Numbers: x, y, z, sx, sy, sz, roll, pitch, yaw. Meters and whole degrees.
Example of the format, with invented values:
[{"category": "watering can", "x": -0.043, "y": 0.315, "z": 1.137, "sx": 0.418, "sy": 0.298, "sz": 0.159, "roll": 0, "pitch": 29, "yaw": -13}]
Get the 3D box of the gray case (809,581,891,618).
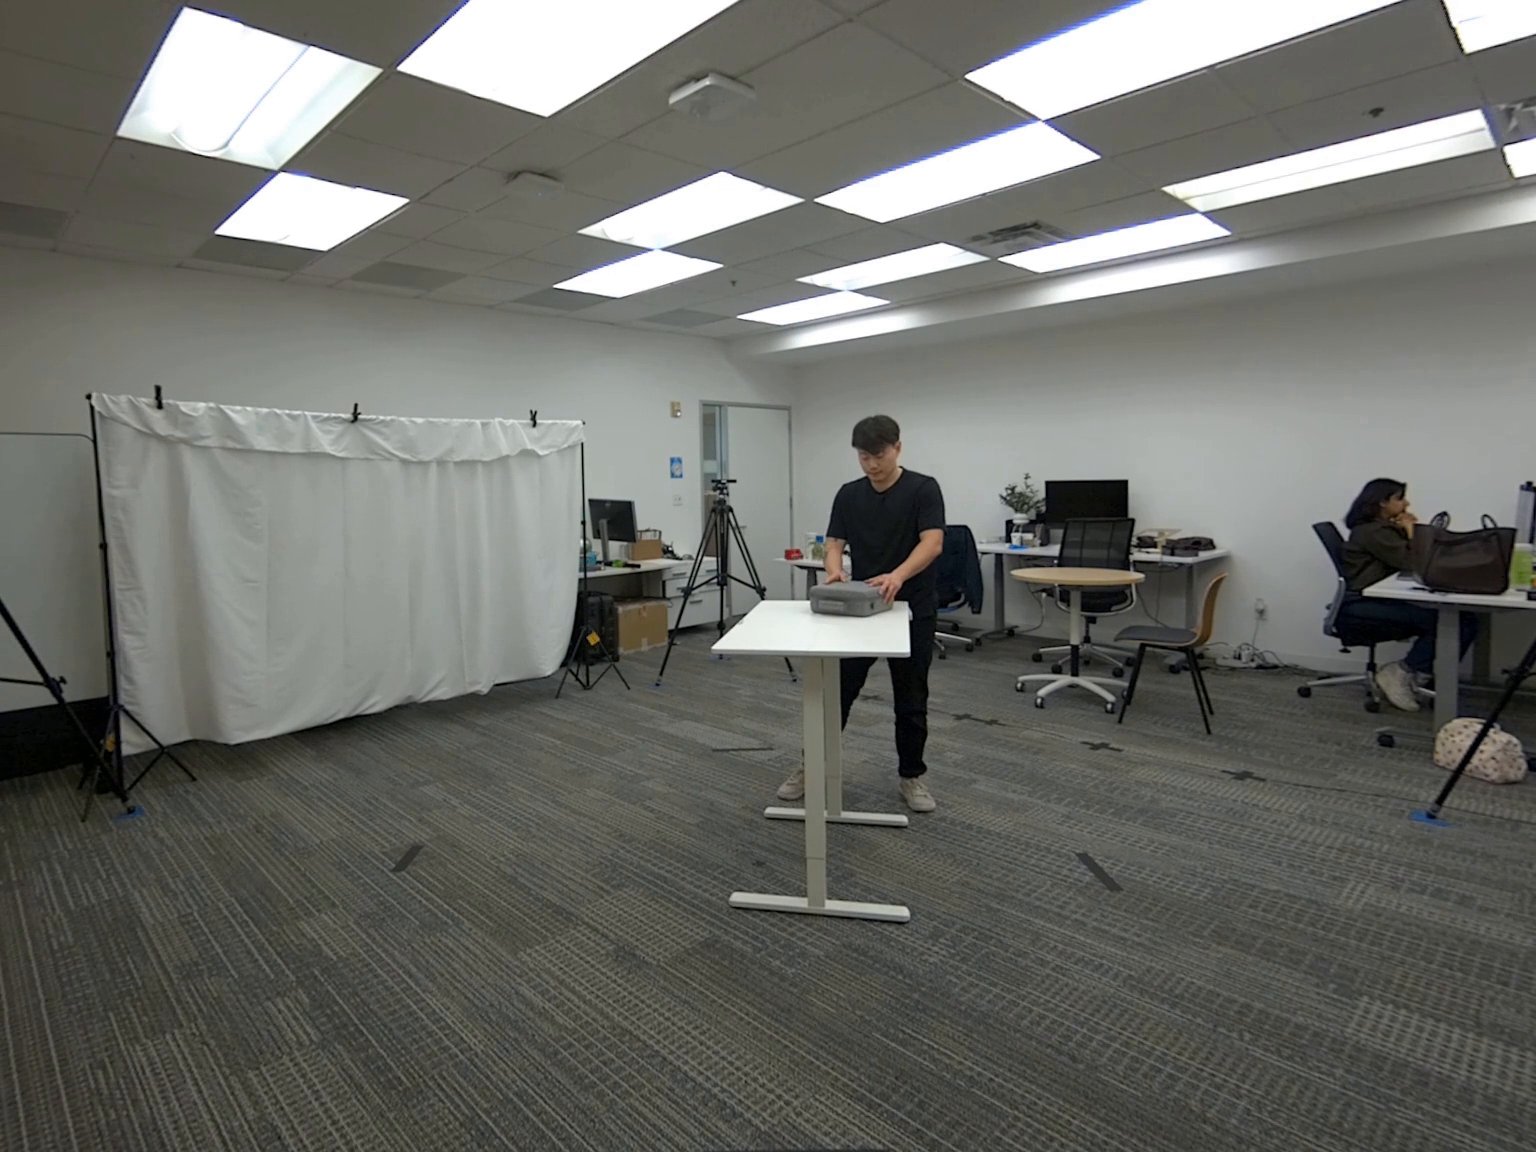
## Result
[{"category": "gray case", "x": 0.315, "y": 0.087, "z": 3.281, "sx": 0.264, "sy": 0.104, "sz": 0.254, "roll": 5, "pitch": 9, "yaw": 36}]
